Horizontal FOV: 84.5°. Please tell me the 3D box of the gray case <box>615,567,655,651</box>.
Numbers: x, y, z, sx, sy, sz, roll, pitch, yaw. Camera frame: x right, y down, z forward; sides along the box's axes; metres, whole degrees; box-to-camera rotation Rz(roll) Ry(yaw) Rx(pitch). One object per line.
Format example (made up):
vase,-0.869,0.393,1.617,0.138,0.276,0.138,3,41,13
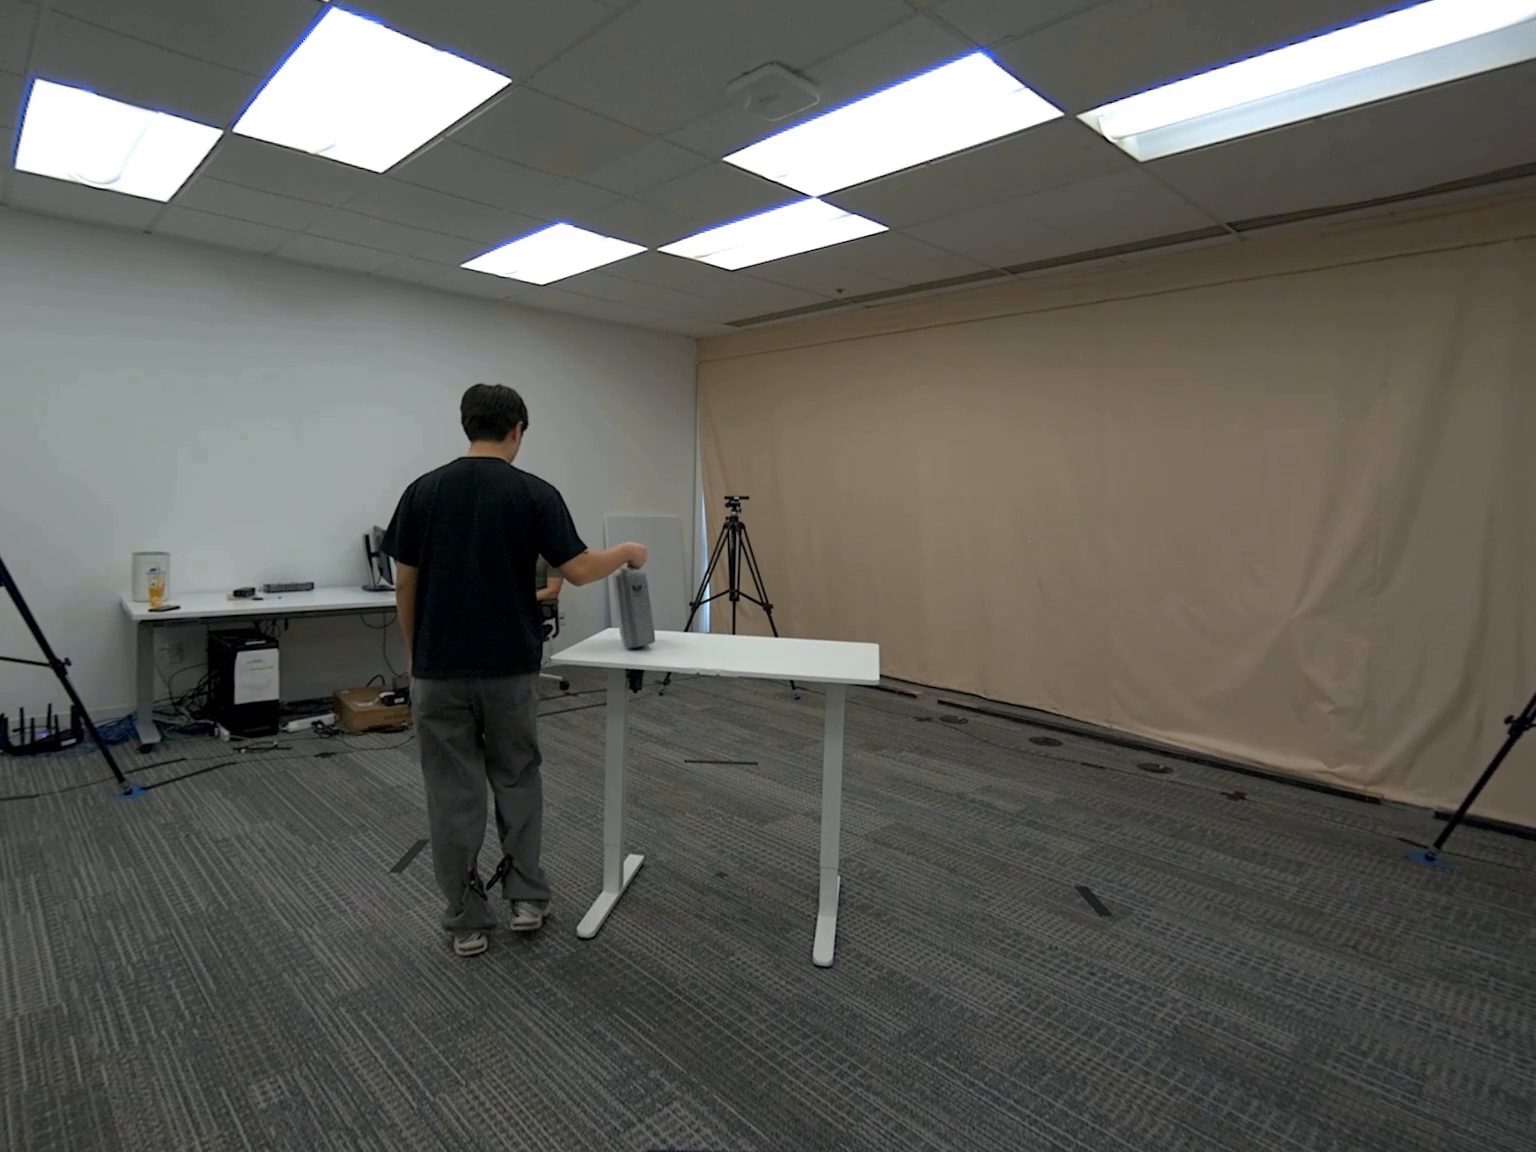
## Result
gray case,-0.463,0.090,2.845,0.102,0.286,0.266,-5,5,-12
